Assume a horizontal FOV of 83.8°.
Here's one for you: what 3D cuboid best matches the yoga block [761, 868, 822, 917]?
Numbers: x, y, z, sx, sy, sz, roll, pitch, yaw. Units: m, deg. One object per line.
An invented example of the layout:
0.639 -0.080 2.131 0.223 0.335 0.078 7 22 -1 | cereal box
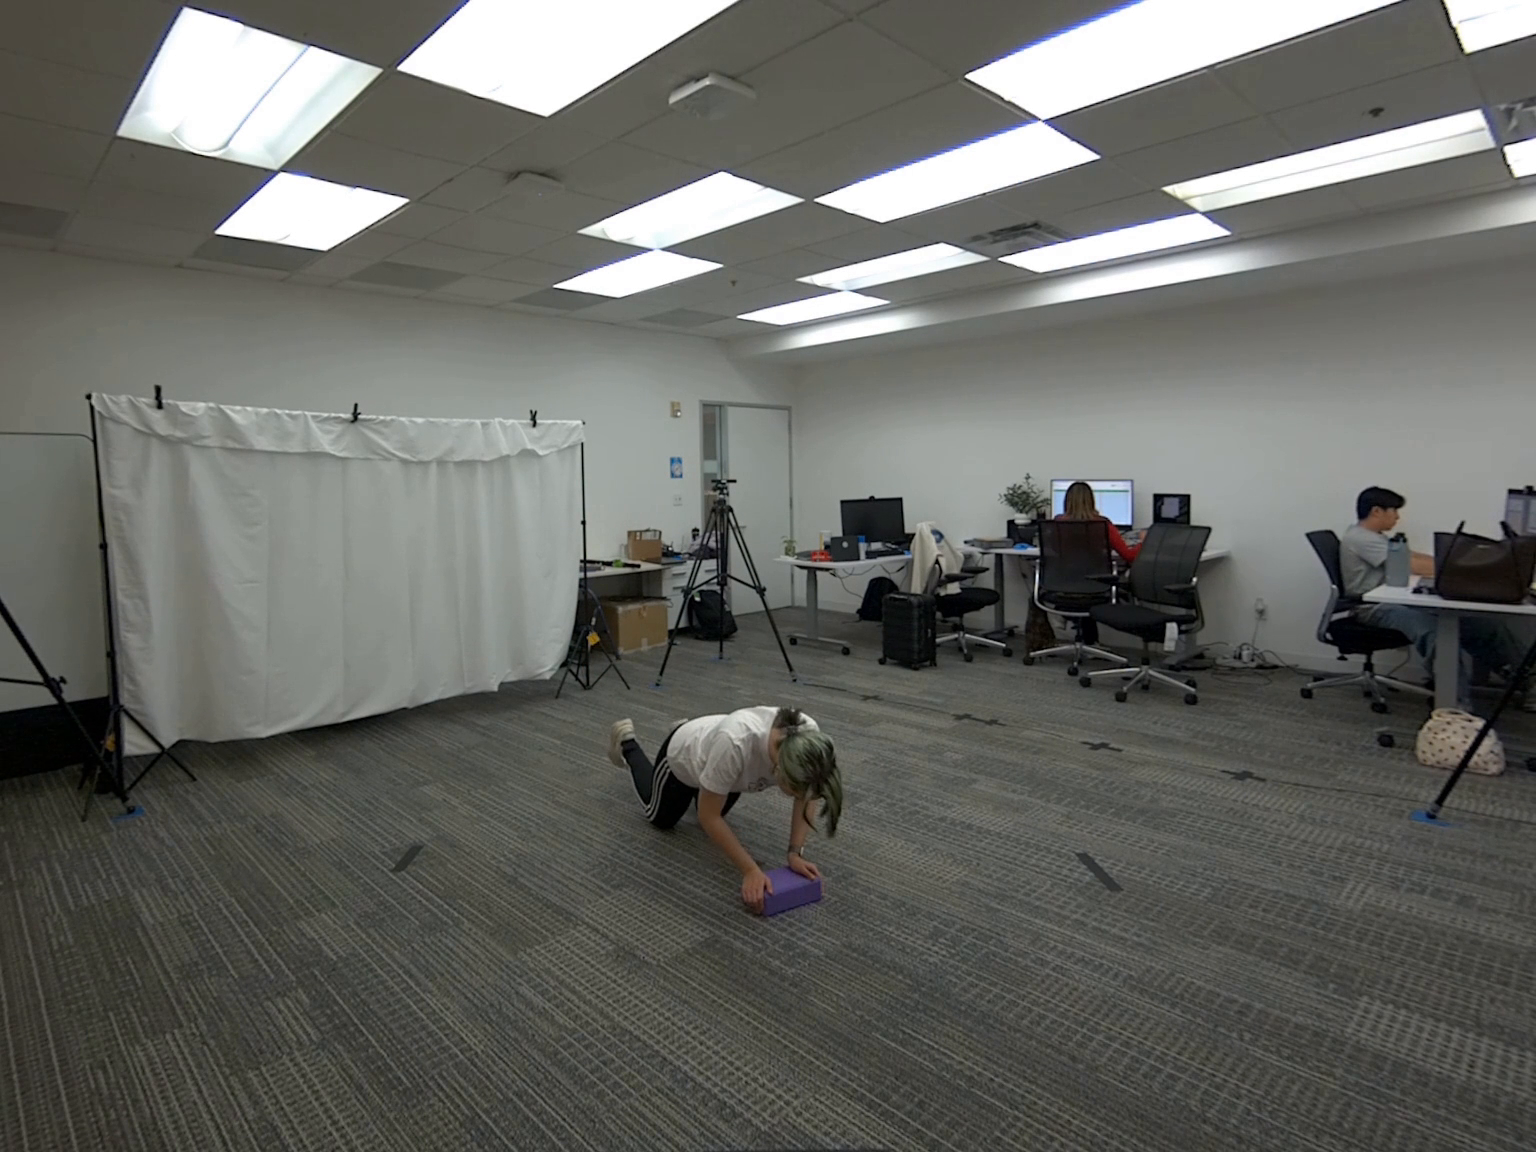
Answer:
0.047 1.041 2.838 0.224 0.076 0.153 -4 8 -31 | yoga block
